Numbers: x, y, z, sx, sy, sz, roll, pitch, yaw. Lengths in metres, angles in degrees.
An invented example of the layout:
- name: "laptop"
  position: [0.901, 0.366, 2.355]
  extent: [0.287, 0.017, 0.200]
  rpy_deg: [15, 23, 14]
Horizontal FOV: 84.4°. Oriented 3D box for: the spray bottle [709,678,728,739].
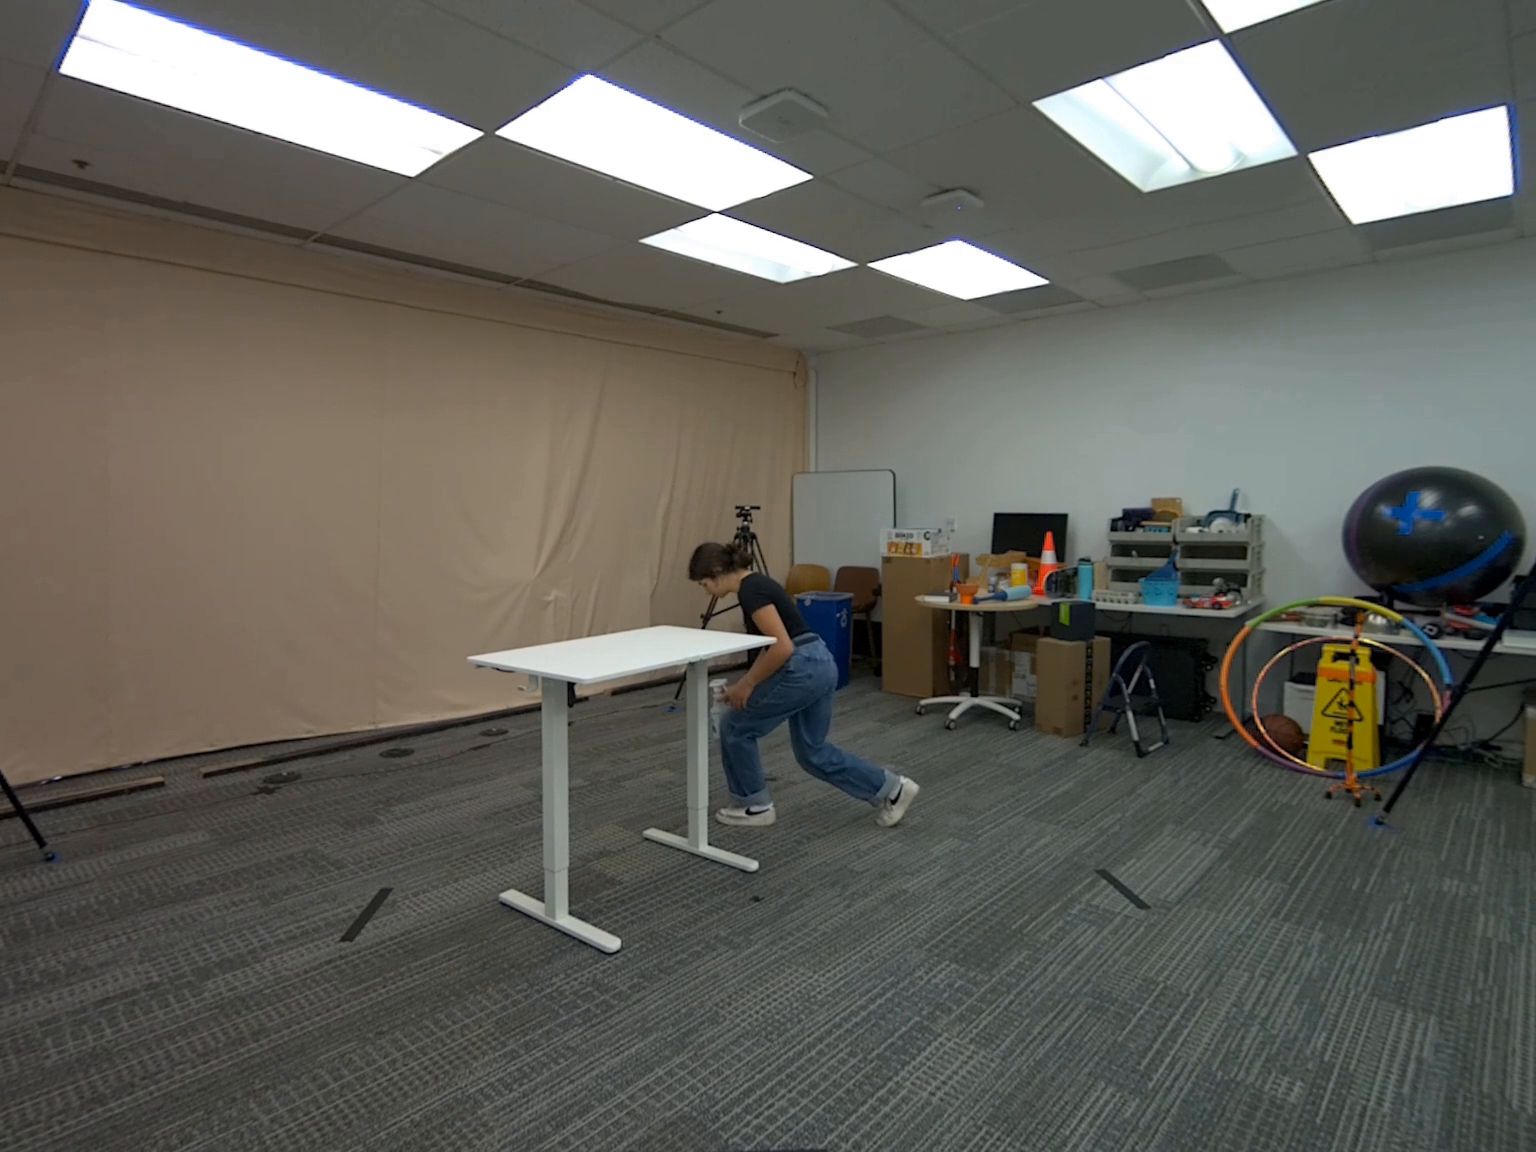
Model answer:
- name: "spray bottle"
  position: [-0.220, 0.626, 3.875]
  extent: [0.084, 0.296, 0.093]
  rpy_deg: [-9, 5, -44]
